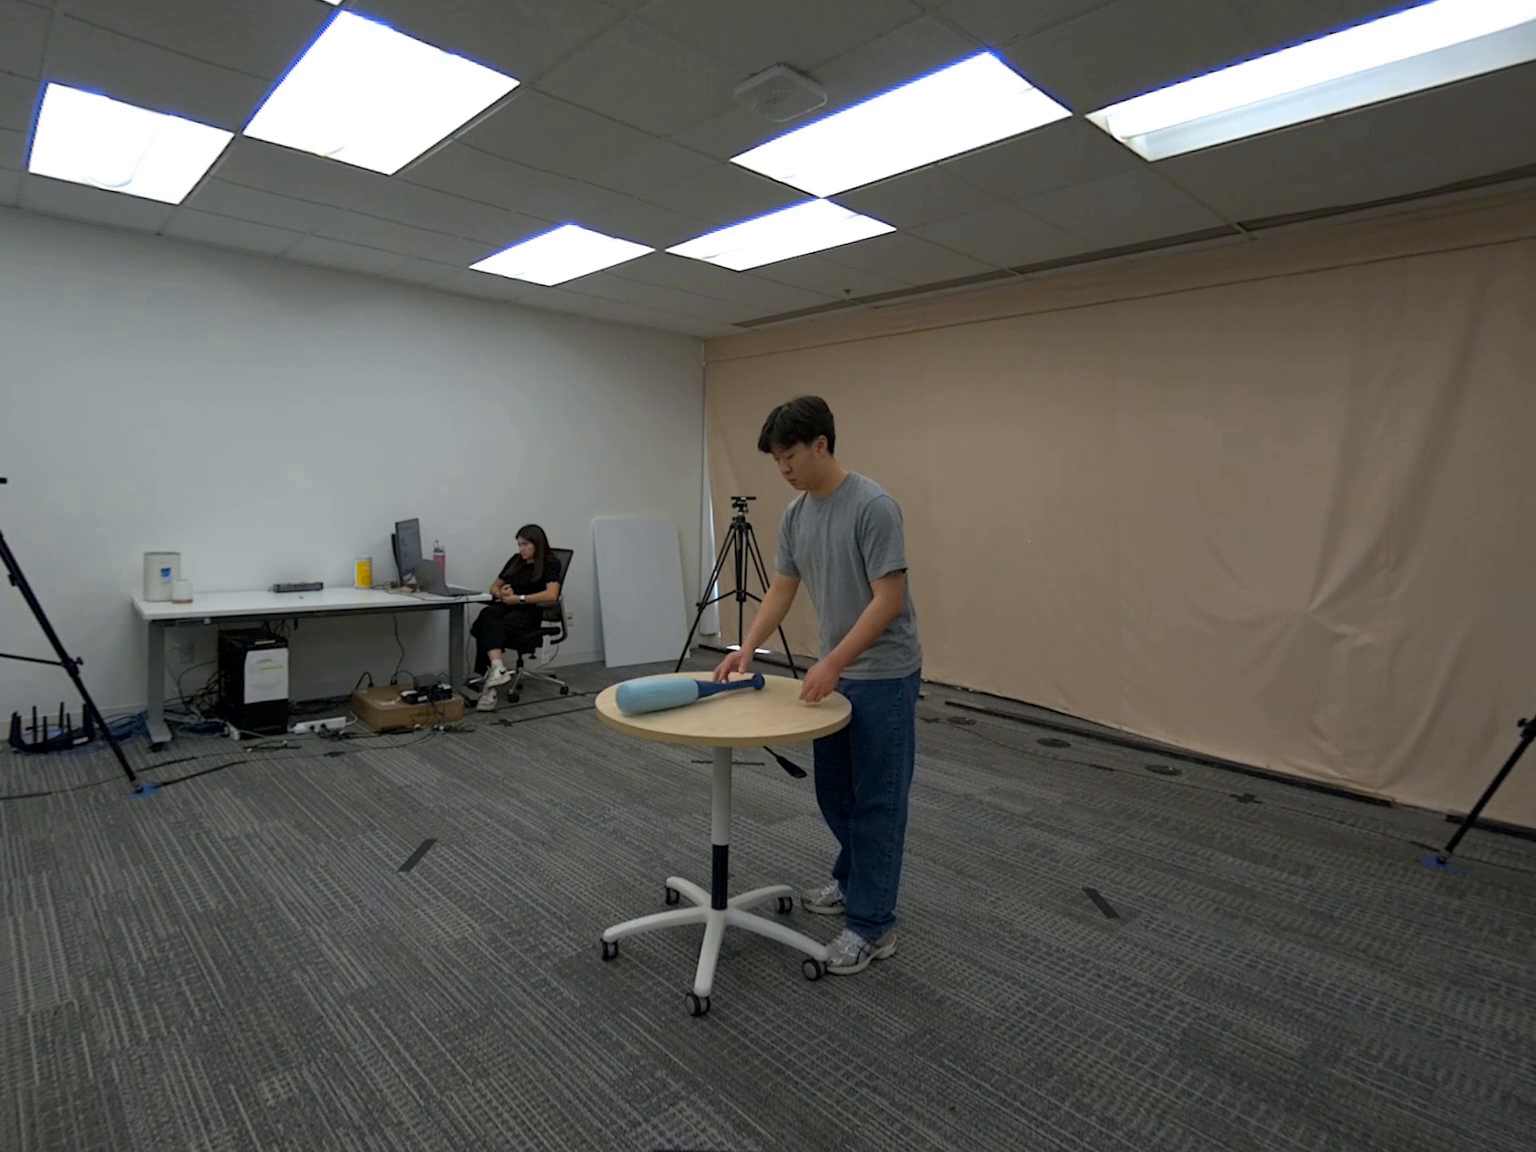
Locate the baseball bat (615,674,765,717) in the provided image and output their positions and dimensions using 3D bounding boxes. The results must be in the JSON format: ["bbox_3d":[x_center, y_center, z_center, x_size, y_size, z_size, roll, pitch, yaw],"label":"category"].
[{"bbox_3d":[-0.219,0.344,2.498,0.530,0.089,0.091,1,3,-42],"label":"baseball bat"}]
